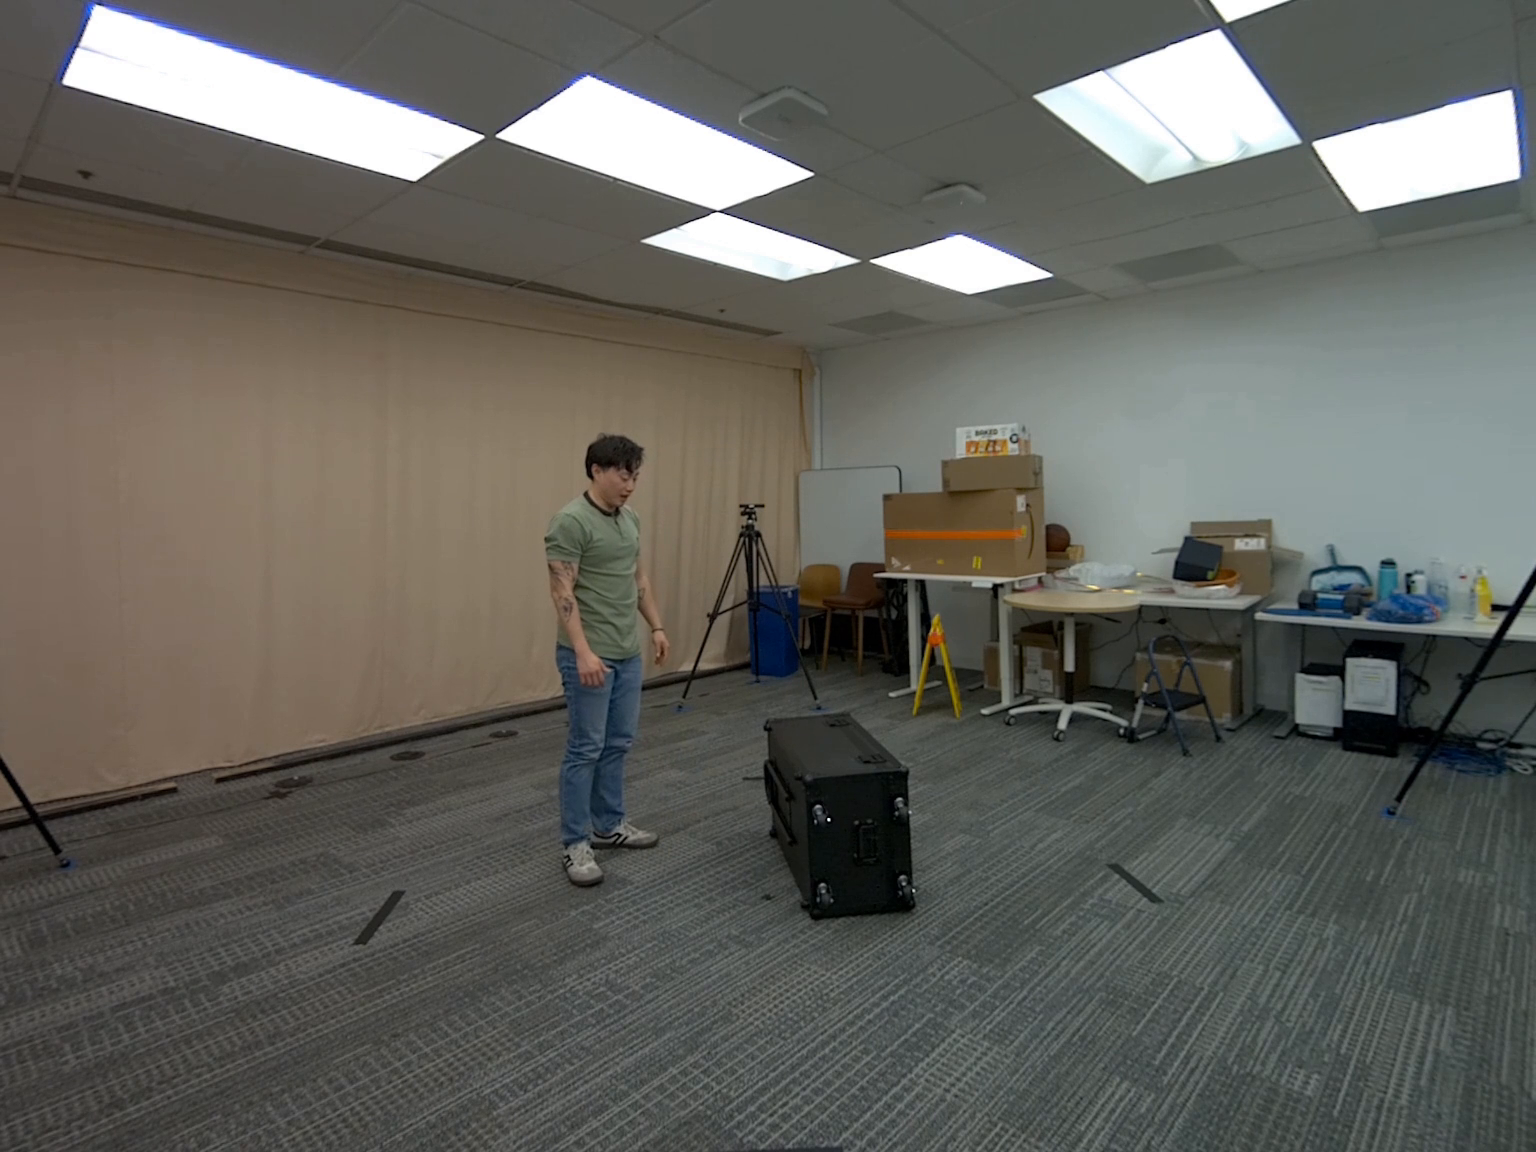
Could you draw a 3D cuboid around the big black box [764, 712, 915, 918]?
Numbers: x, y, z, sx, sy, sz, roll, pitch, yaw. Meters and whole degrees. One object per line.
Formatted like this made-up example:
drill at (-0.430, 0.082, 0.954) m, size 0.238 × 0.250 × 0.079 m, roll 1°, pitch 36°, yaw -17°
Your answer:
big black box at (0.239, 0.862, 3.164) m, size 0.393 × 0.520 × 0.871 m, roll -4°, pitch 4°, yaw -9°
